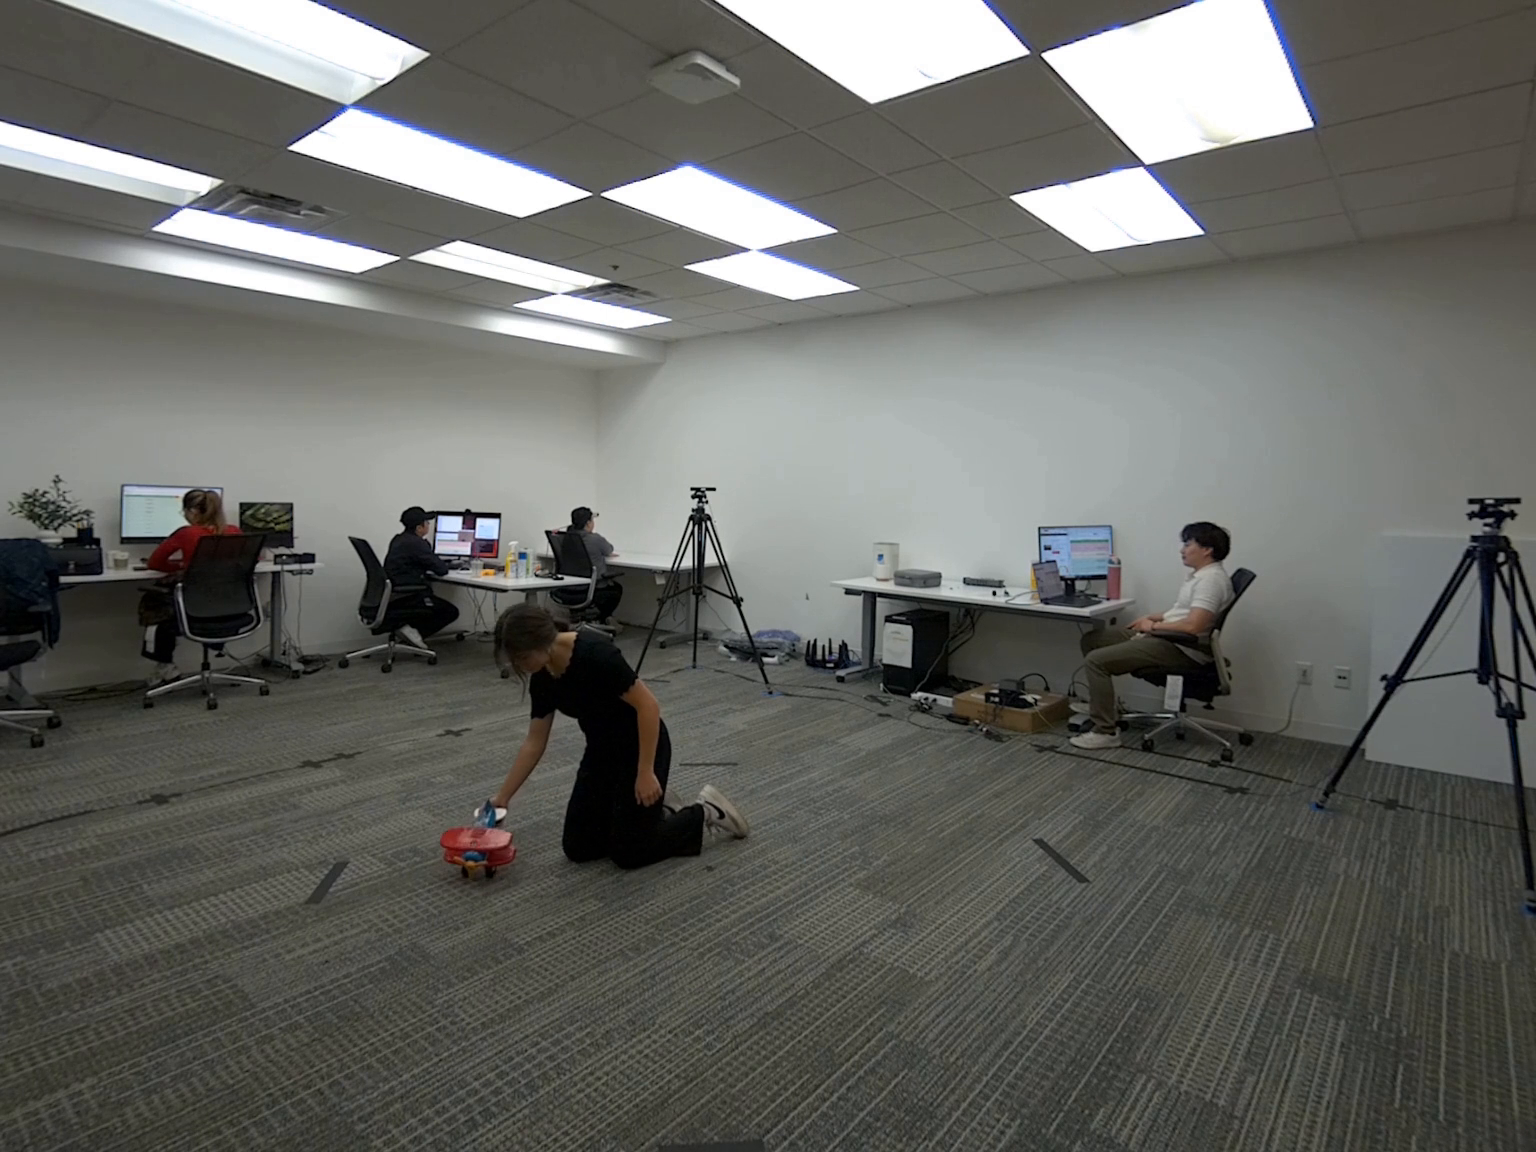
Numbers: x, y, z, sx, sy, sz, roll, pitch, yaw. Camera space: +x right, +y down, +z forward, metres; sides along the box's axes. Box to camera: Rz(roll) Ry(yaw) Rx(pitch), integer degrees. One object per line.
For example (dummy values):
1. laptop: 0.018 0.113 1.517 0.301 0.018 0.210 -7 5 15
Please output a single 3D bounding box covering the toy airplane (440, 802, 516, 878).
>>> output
1. toy airplane: -1.051 0.945 3.045 0.248 0.152 0.270 -21 50 -17
